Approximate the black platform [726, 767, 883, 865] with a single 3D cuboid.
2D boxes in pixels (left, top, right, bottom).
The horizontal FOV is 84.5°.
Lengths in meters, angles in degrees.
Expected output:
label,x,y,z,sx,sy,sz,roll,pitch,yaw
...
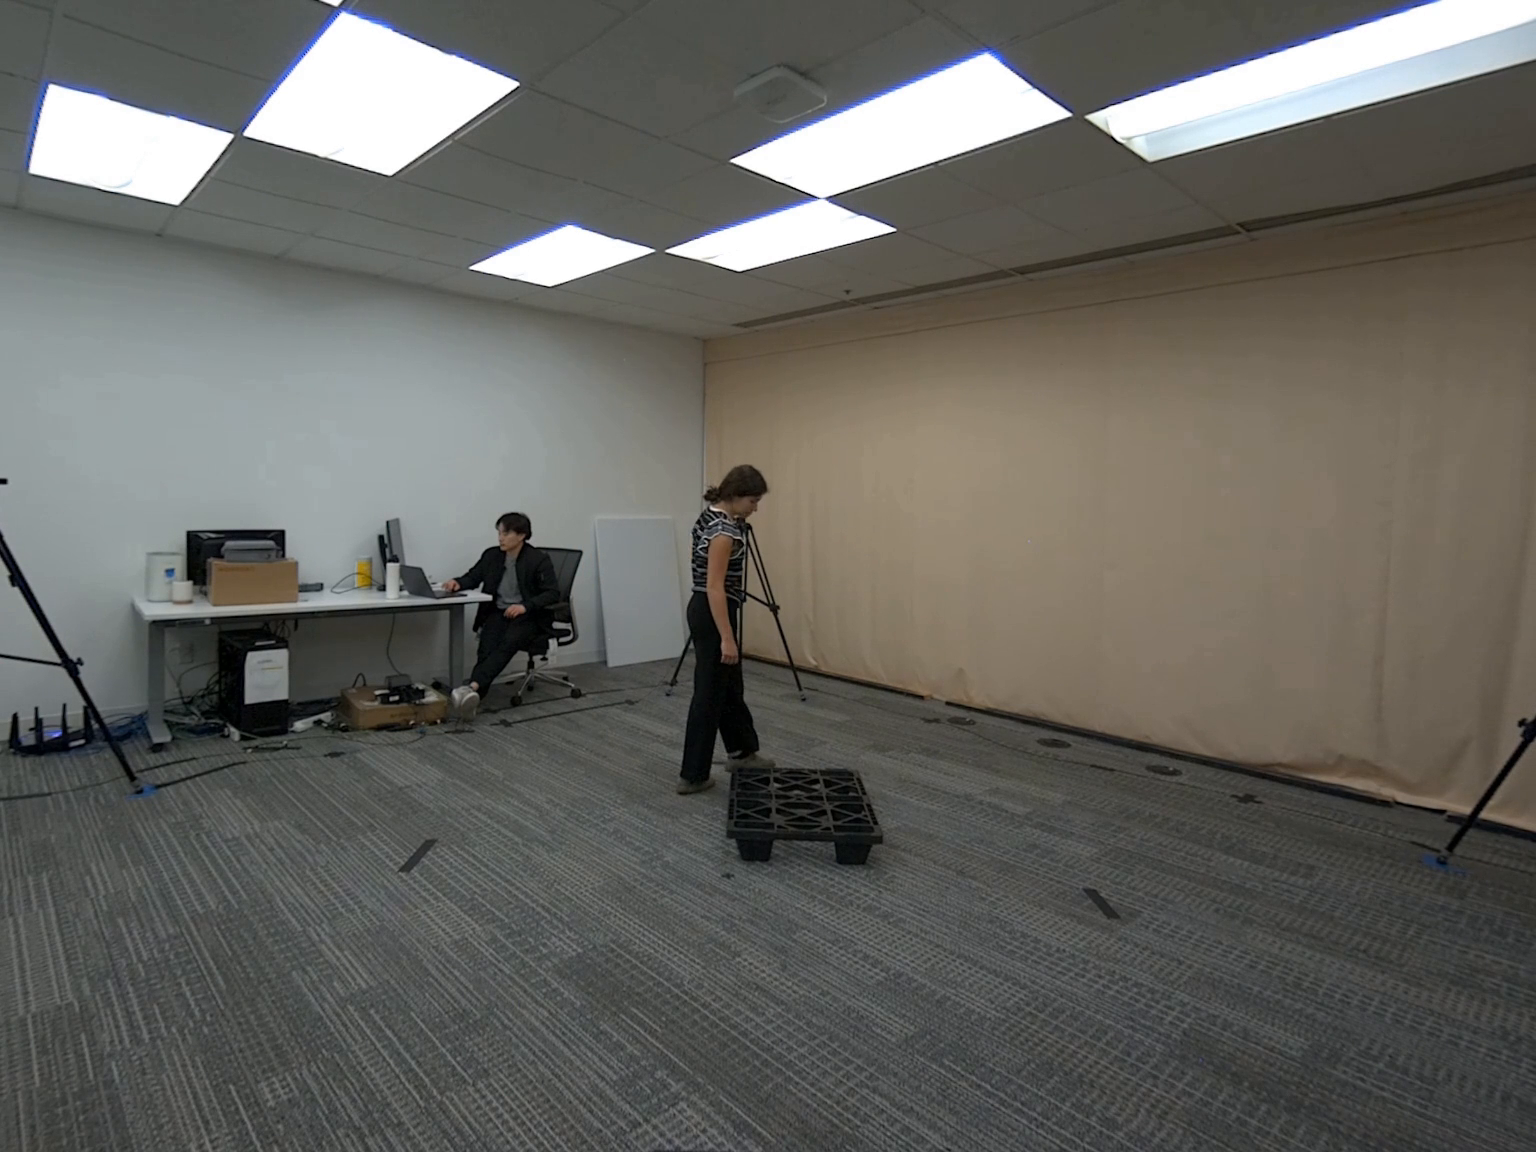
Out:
label,x,y,z,sx,sy,sz,roll,pitch,yaw
black platform,0.125,1.005,3.589,0.605,0.143,0.807,2,5,0
